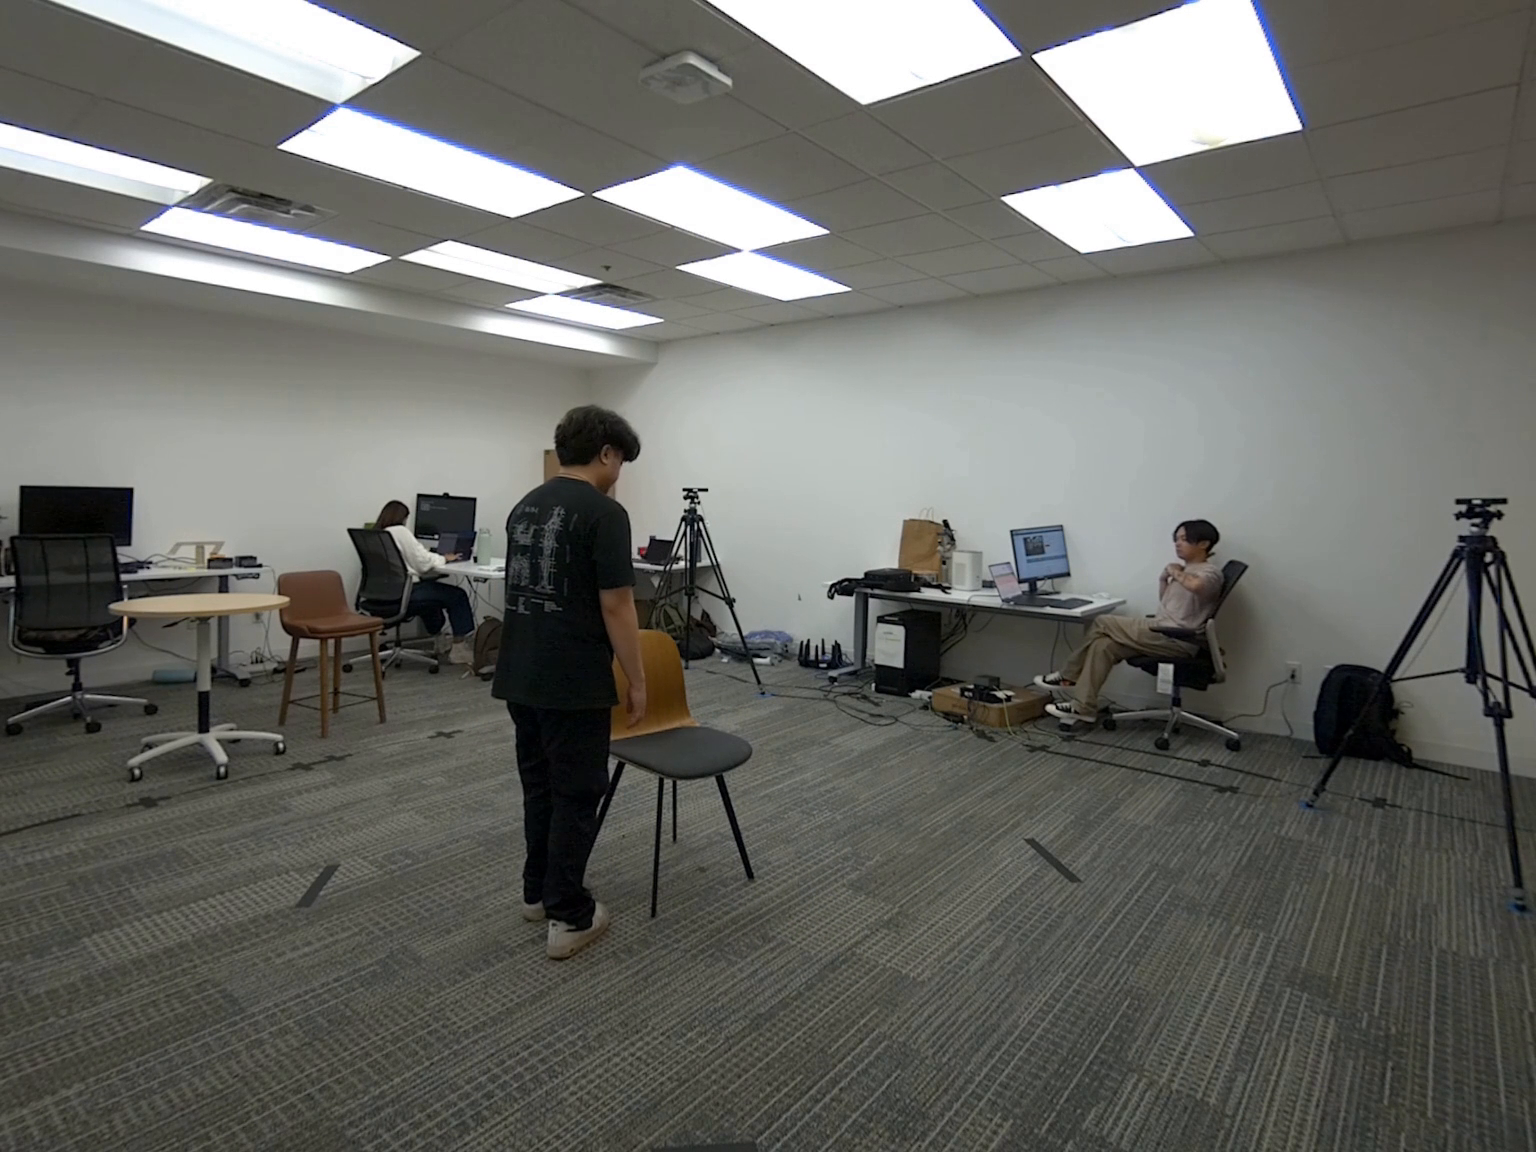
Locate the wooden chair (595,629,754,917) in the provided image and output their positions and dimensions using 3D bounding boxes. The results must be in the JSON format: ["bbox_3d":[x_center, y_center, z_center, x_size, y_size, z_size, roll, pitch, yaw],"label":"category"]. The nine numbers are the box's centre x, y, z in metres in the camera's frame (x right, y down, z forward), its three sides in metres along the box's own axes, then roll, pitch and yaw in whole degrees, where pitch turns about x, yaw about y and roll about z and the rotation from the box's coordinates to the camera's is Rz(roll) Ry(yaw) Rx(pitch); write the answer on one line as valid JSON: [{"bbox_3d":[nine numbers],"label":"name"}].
[{"bbox_3d":[-0.357,0.646,3.025,0.463,0.878,0.539,-2,0,-43],"label":"wooden chair"}]
